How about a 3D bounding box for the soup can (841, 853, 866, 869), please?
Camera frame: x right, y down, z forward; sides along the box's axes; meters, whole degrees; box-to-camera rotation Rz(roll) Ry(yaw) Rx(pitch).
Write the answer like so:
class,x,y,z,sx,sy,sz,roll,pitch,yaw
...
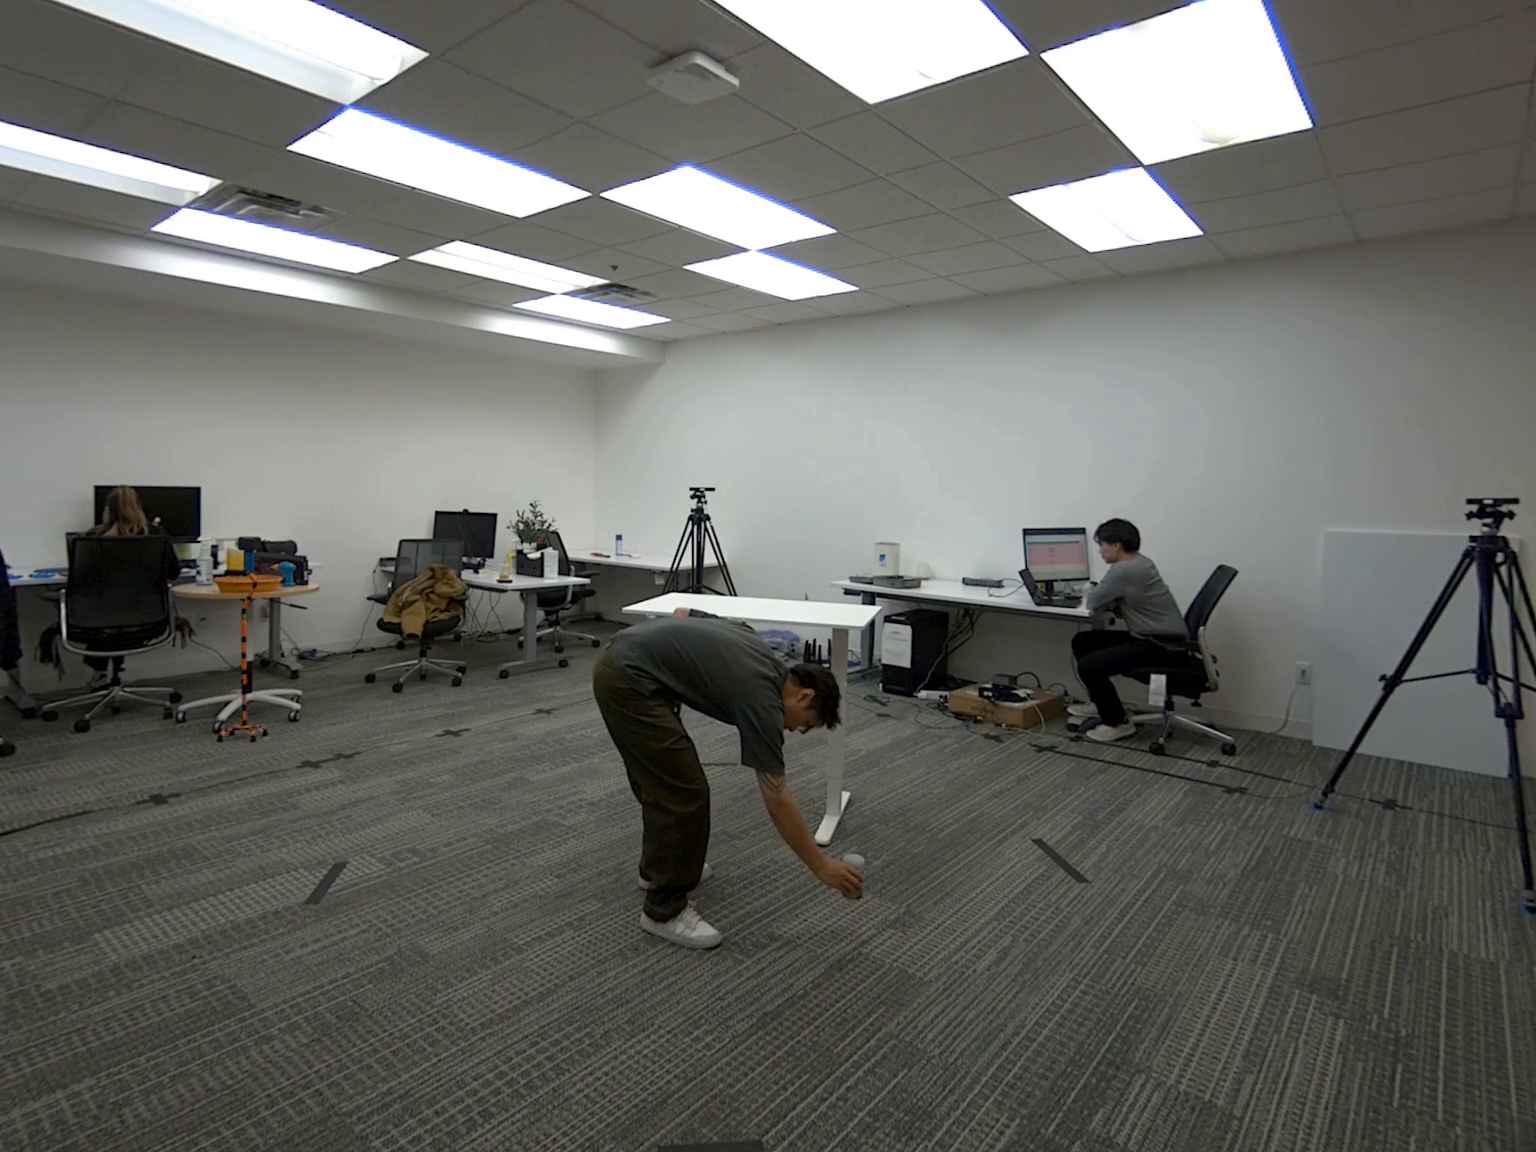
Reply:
class,x,y,z,sx,sy,sz,roll,pitch,yaw
soup can,0.258,0.948,2.658,0.067,0.121,0.067,2,4,-2
